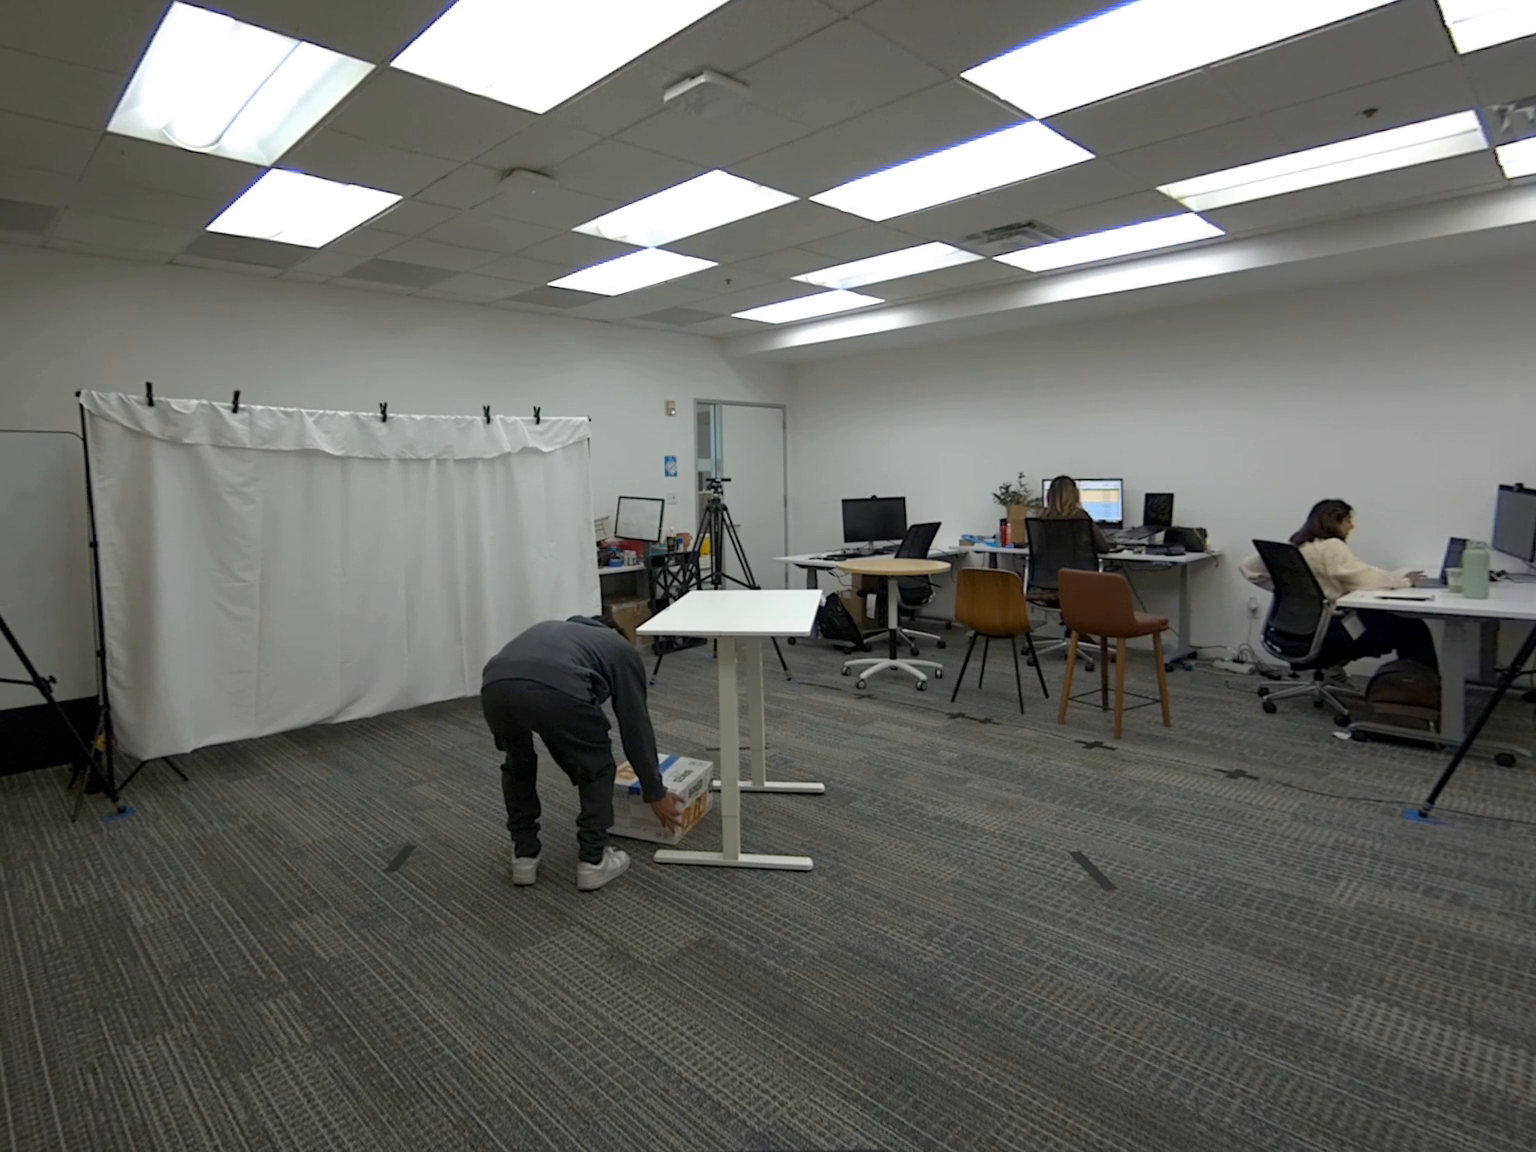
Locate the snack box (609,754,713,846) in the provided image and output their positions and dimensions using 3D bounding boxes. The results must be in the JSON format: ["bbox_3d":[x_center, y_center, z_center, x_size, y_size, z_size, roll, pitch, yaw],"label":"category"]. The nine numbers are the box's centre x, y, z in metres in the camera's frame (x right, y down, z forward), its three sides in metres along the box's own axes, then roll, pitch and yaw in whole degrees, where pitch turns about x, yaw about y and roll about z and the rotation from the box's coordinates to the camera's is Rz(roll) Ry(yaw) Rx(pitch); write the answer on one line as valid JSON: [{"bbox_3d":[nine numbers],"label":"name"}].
[{"bbox_3d":[-0.451,0.897,3.491,0.347,0.205,0.400,3,6,18],"label":"snack box"}]
